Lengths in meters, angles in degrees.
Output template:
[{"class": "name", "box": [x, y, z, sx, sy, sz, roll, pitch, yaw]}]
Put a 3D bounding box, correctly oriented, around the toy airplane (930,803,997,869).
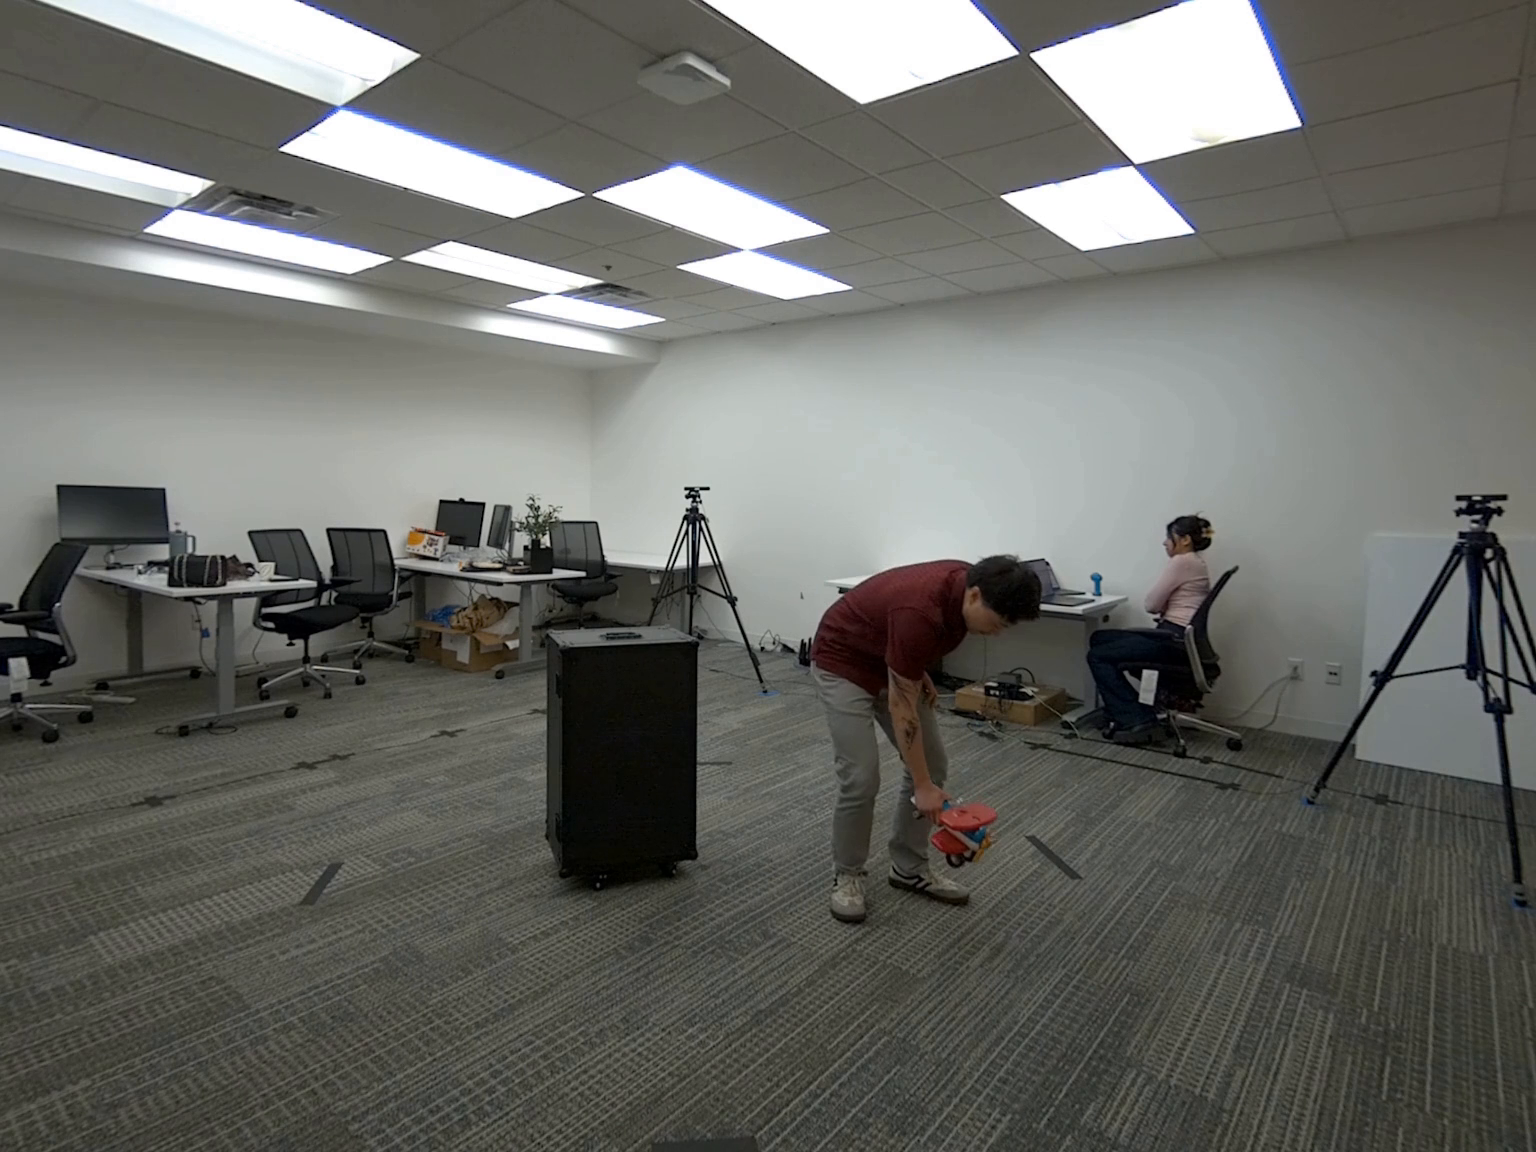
[{"class": "toy airplane", "box": [0.554, 0.764, 2.609, 0.264, 0.155, 0.249, 32, 24, 12]}]
